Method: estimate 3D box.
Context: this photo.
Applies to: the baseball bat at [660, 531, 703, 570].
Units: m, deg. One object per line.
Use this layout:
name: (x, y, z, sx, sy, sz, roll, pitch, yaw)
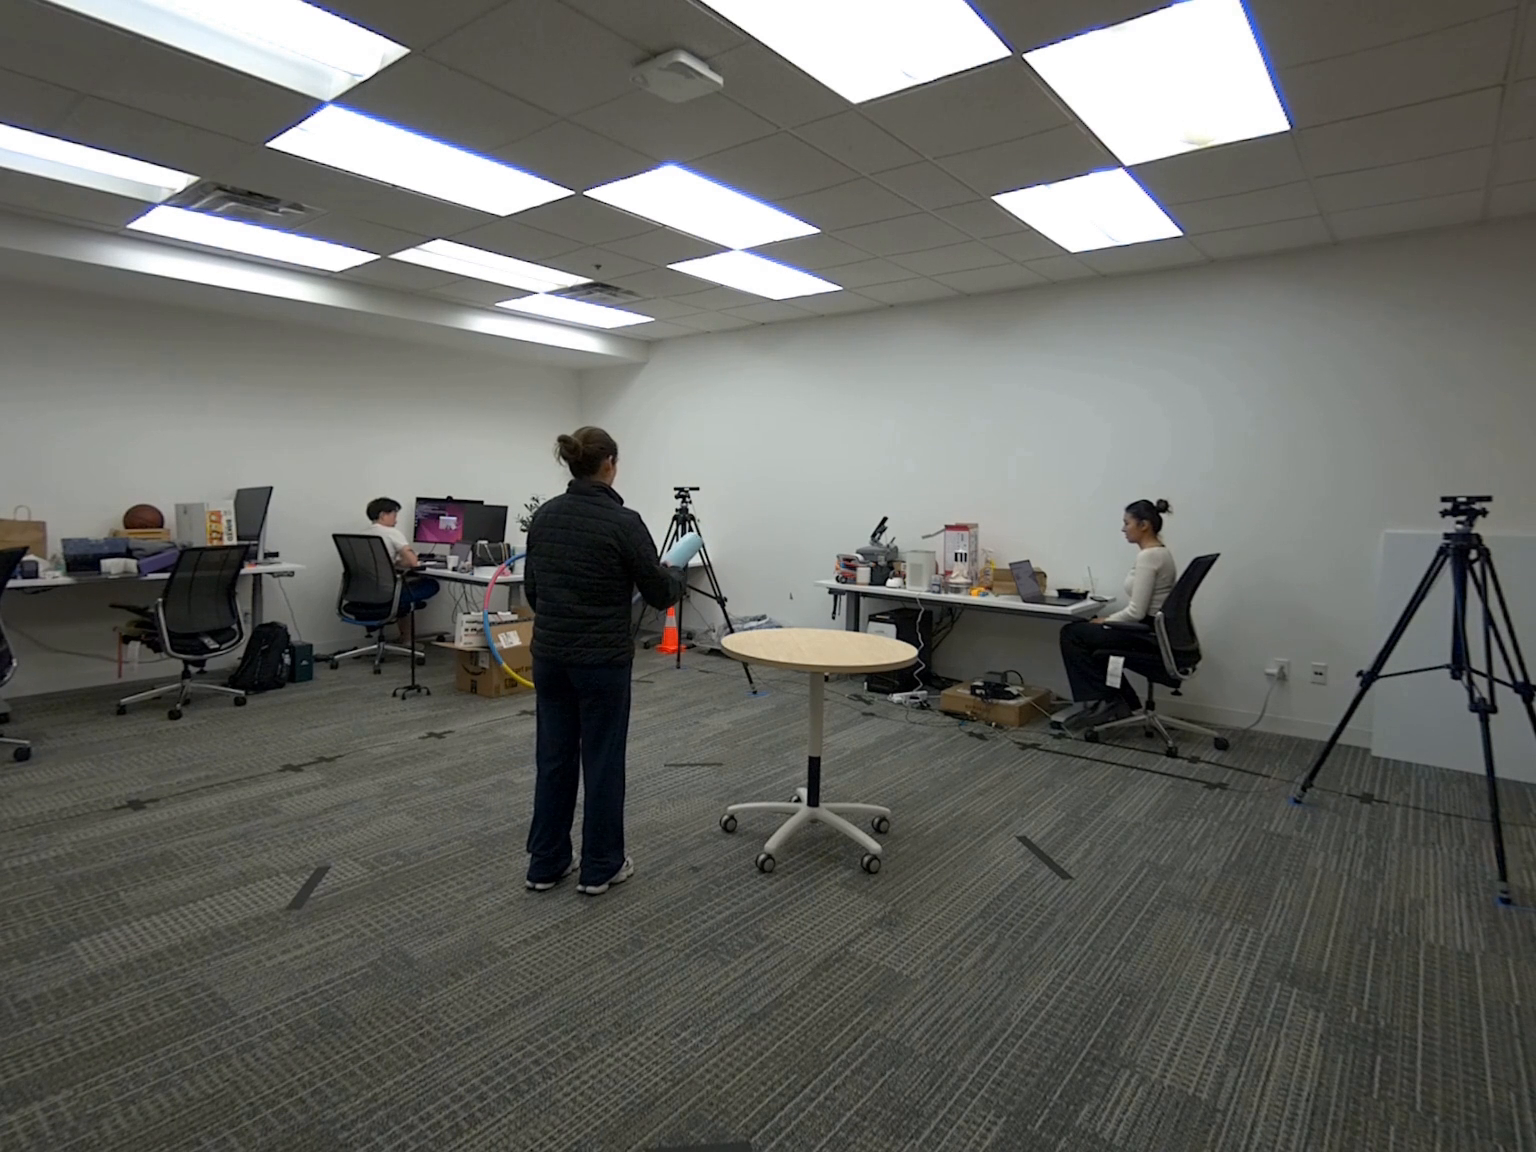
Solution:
baseball bat: (-0.388, -0.023, 3.281, 0.091, 0.086, 0.544, 2, 32, 27)
